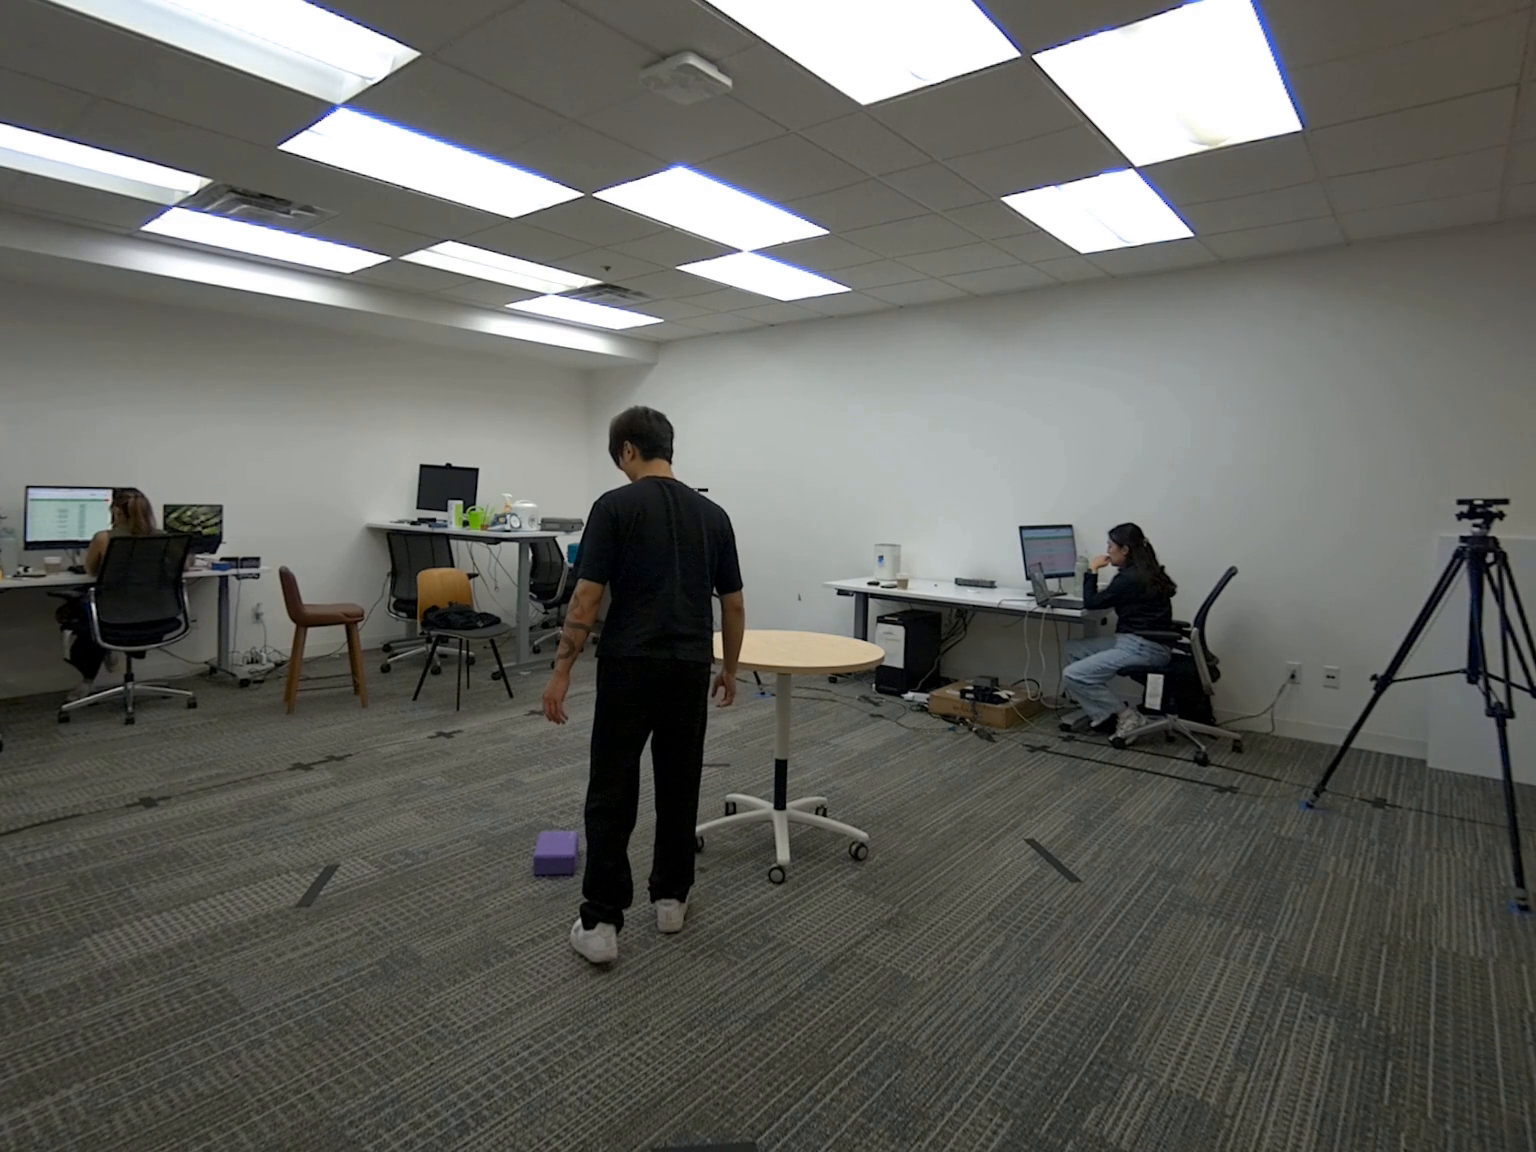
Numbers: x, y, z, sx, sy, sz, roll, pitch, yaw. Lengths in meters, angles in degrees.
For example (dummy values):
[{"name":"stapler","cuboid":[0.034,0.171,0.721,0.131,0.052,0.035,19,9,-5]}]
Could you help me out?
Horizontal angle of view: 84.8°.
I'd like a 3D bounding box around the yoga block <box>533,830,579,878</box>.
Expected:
[{"name":"yoga block","cuboid":[-0.794,1.021,3.139,0.148,0.076,0.232,1,5,-8]}]
